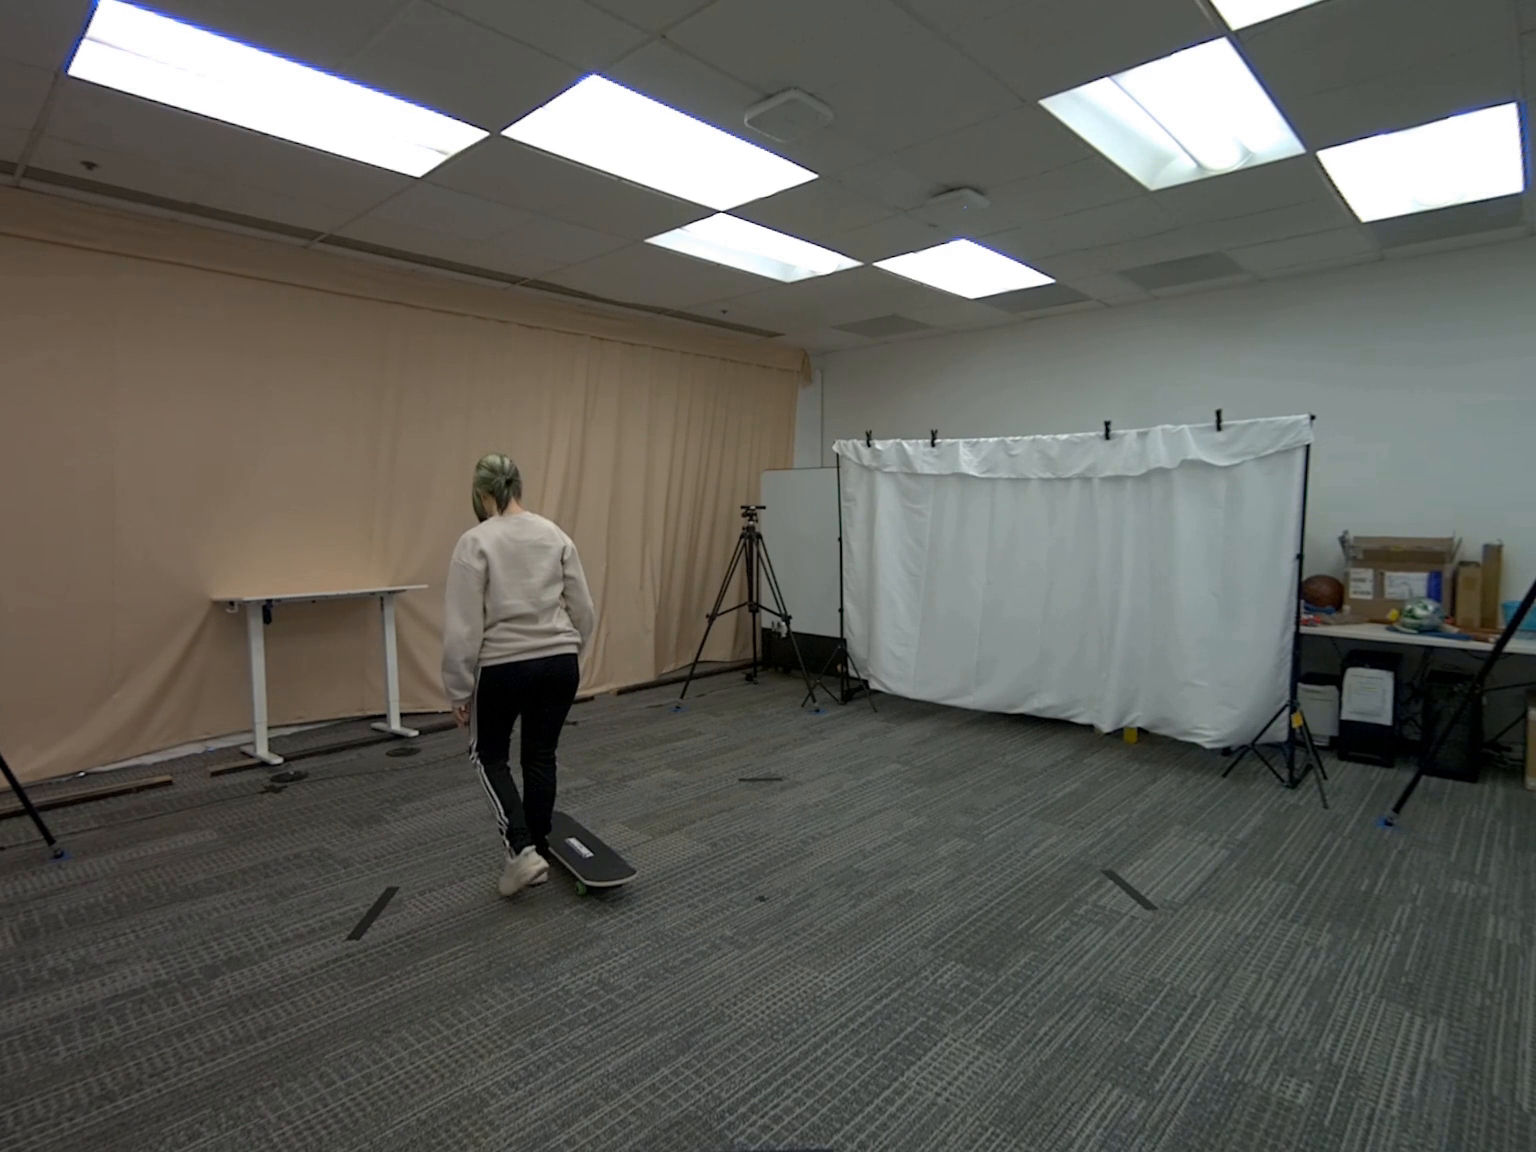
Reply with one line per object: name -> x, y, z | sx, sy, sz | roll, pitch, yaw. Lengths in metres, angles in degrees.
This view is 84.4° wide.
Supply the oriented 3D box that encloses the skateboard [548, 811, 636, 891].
skateboard -> -0.721, 1.069, 3.229 | 0.188, 0.110, 0.810 | -4, 6, -34
